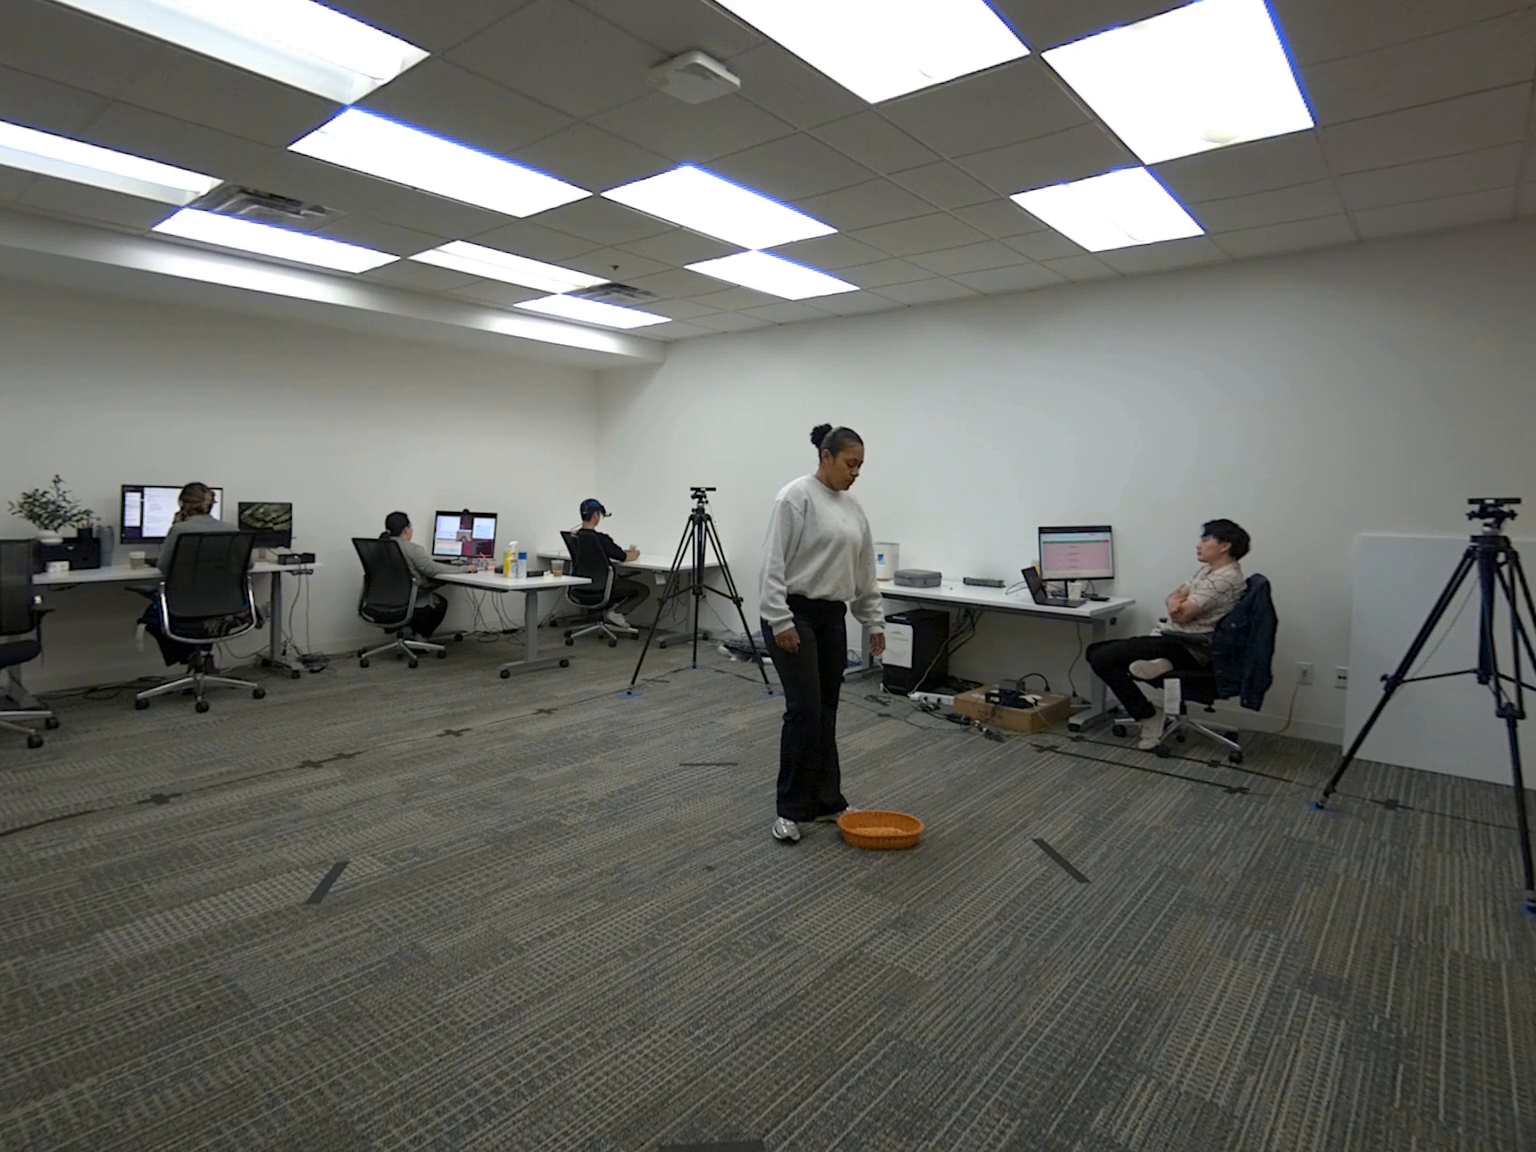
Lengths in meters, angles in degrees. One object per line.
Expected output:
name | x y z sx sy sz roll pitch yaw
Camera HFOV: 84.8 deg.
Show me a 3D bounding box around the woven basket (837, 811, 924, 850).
woven basket | 0.432 1.012 3.406 0.350 0.073 0.254 1 6 -2
